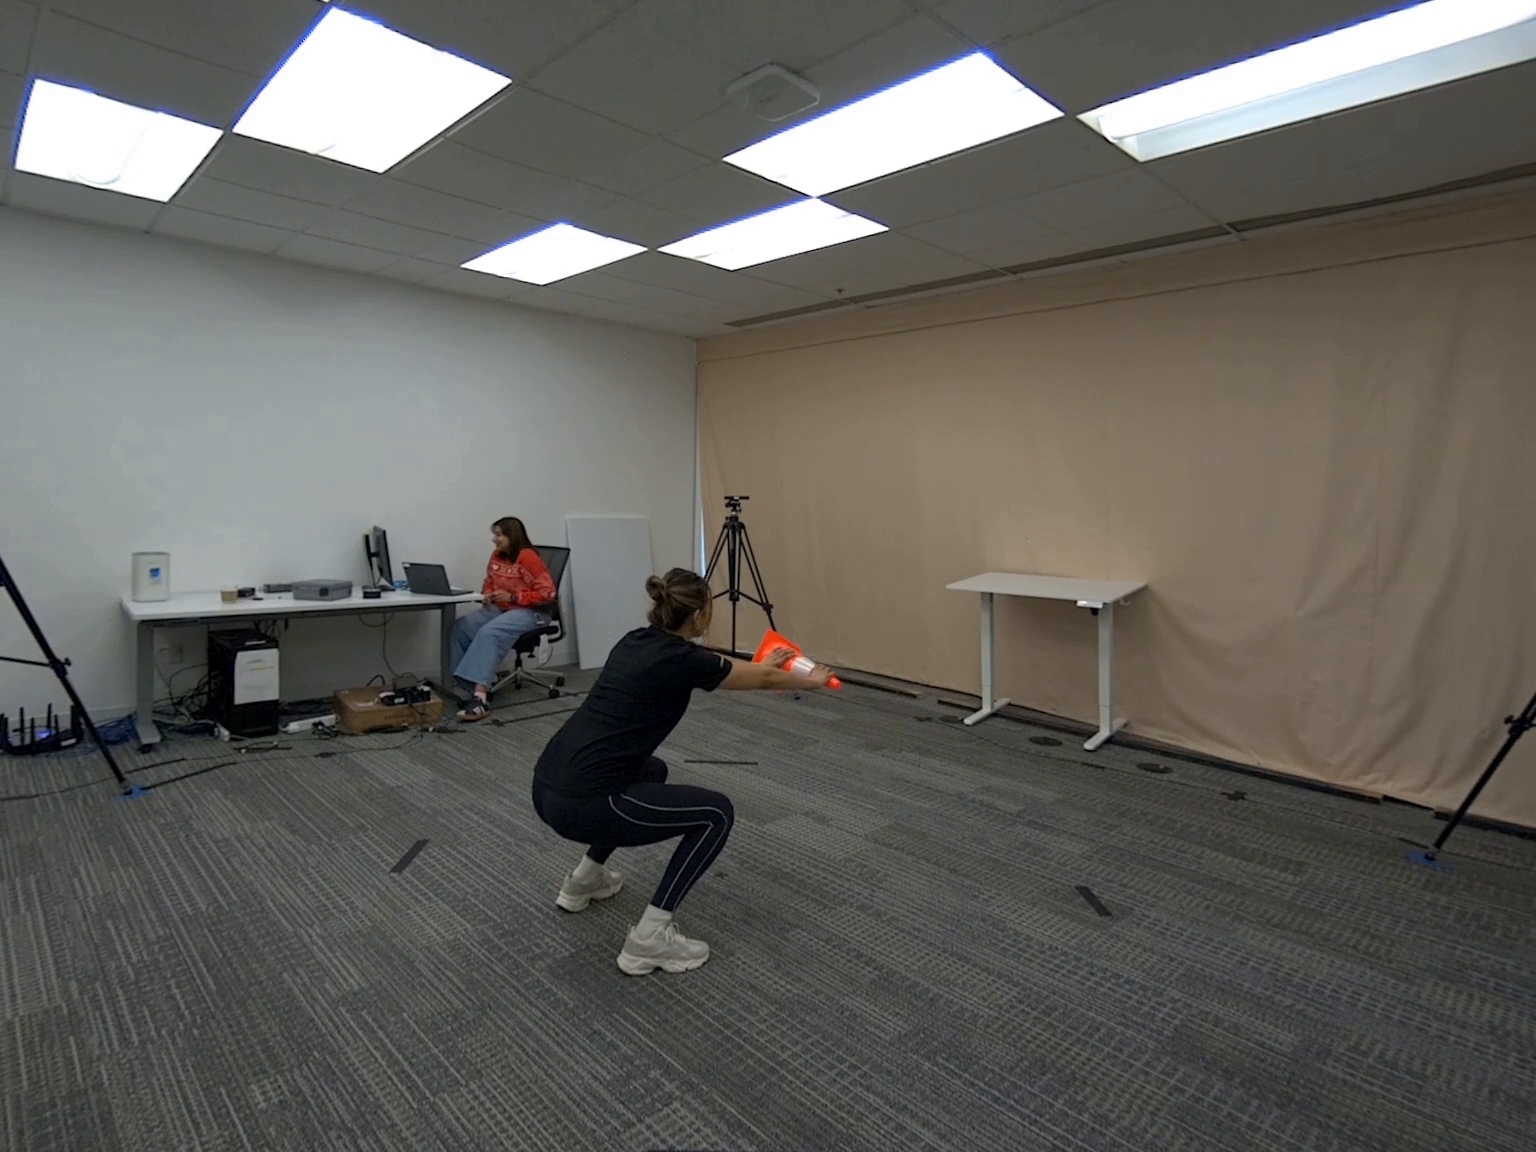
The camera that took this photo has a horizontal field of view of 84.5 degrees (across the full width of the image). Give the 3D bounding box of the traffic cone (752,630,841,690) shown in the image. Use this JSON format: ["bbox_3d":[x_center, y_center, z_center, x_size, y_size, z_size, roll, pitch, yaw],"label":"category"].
[{"bbox_3d":[0.129,0.355,3.171,0.197,0.205,0.394,34,-11,-35],"label":"traffic cone"}]
